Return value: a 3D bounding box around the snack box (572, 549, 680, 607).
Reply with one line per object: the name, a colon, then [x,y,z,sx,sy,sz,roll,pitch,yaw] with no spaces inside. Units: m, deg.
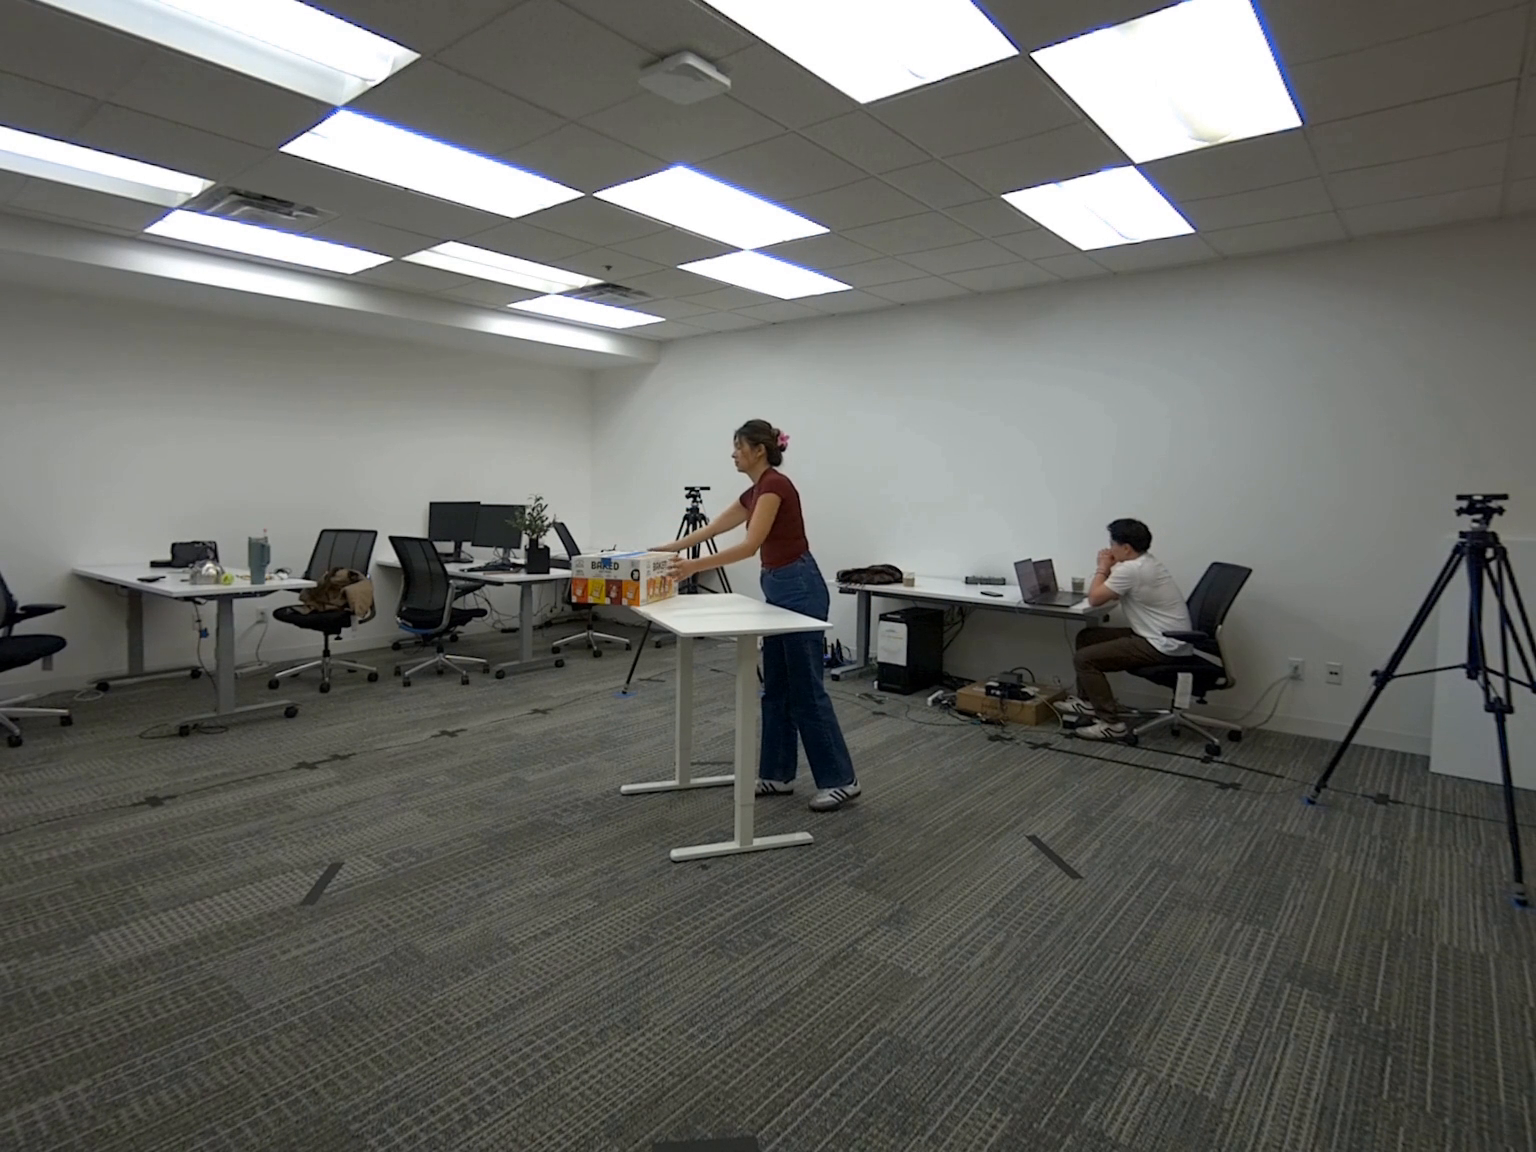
snack box: [-0.650,-0.001,3.869,0.348,0.205,0.398,3,6,19]
